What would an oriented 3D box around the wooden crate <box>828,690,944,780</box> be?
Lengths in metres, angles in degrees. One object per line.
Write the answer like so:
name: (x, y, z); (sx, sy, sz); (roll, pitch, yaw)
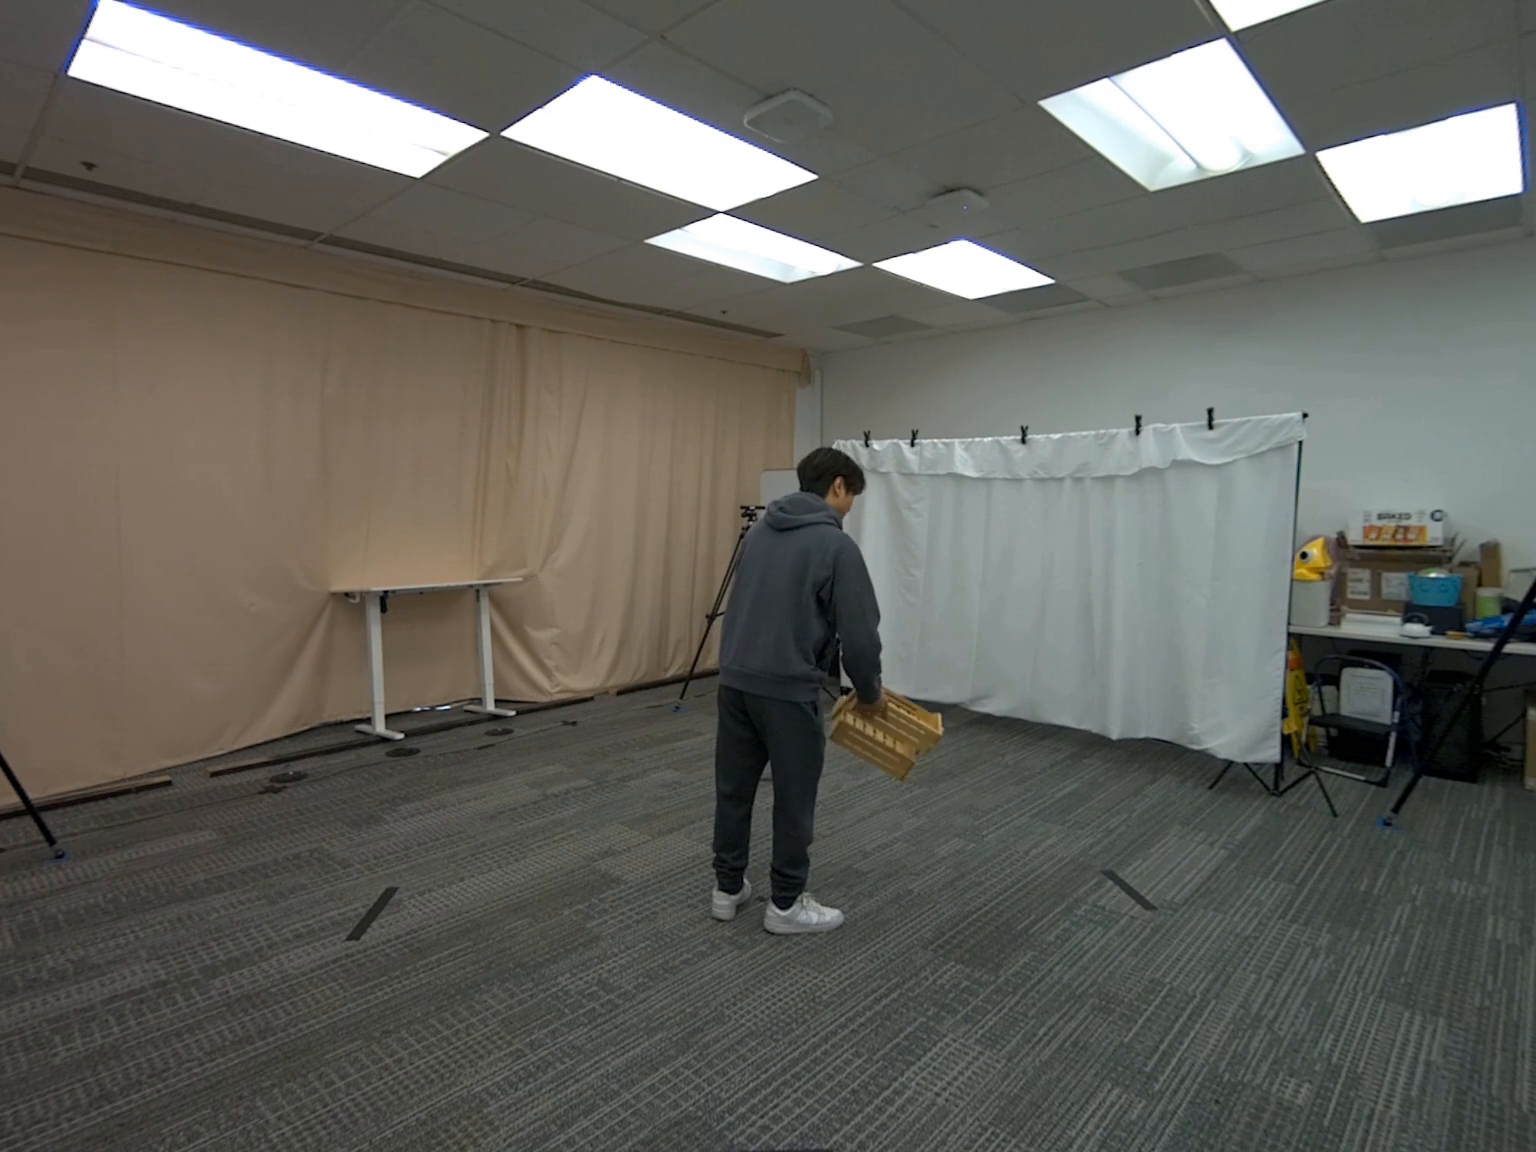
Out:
wooden crate: (0.441, 0.513, 3.036); (0.326, 0.273, 0.301); (30, 22, 2)
